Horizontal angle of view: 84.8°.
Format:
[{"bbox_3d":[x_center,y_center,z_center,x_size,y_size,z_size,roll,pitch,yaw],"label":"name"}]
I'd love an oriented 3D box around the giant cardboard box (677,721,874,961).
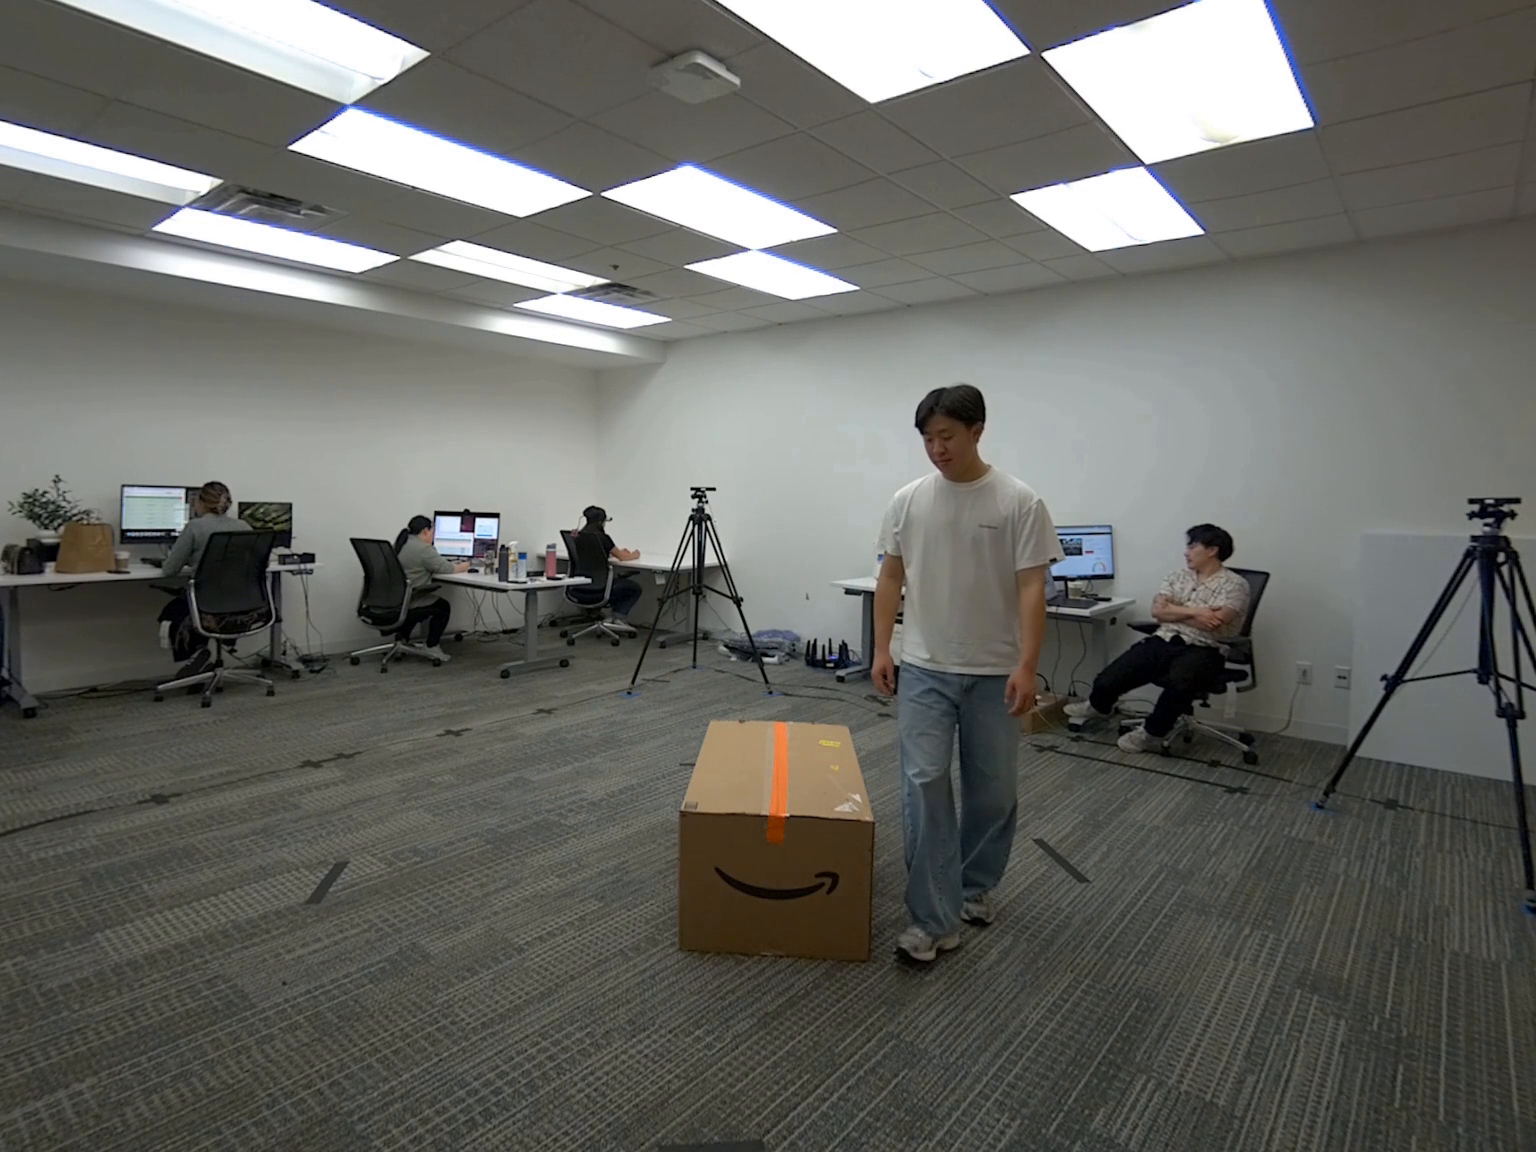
[{"bbox_3d":[0.022,0.860,3.021,0.579,0.424,1.027,2,5,1],"label":"giant cardboard box"}]
